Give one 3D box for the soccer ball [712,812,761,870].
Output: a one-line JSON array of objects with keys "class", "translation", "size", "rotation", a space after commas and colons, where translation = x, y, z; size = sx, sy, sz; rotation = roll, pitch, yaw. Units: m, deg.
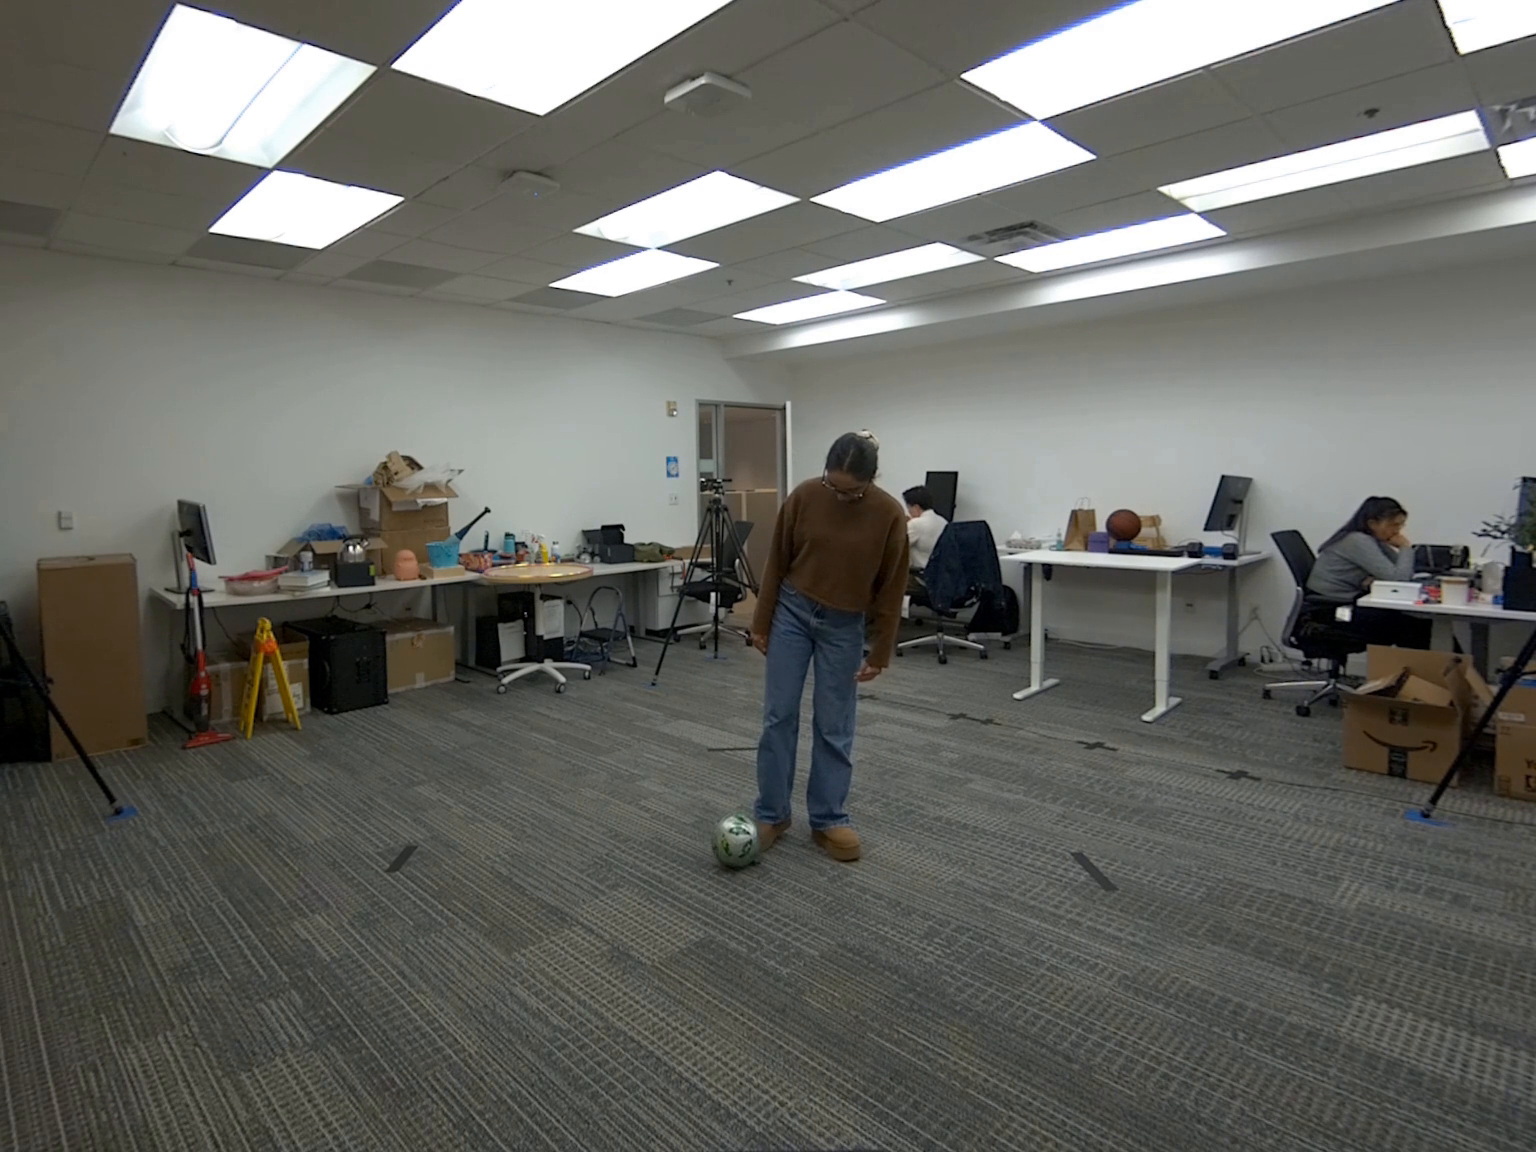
[{"class": "soccer ball", "translation": [-0.111, 0.959, 3.082], "size": [0.187, 0.187, 0.188], "rotation": [-1, 5, -2]}]
